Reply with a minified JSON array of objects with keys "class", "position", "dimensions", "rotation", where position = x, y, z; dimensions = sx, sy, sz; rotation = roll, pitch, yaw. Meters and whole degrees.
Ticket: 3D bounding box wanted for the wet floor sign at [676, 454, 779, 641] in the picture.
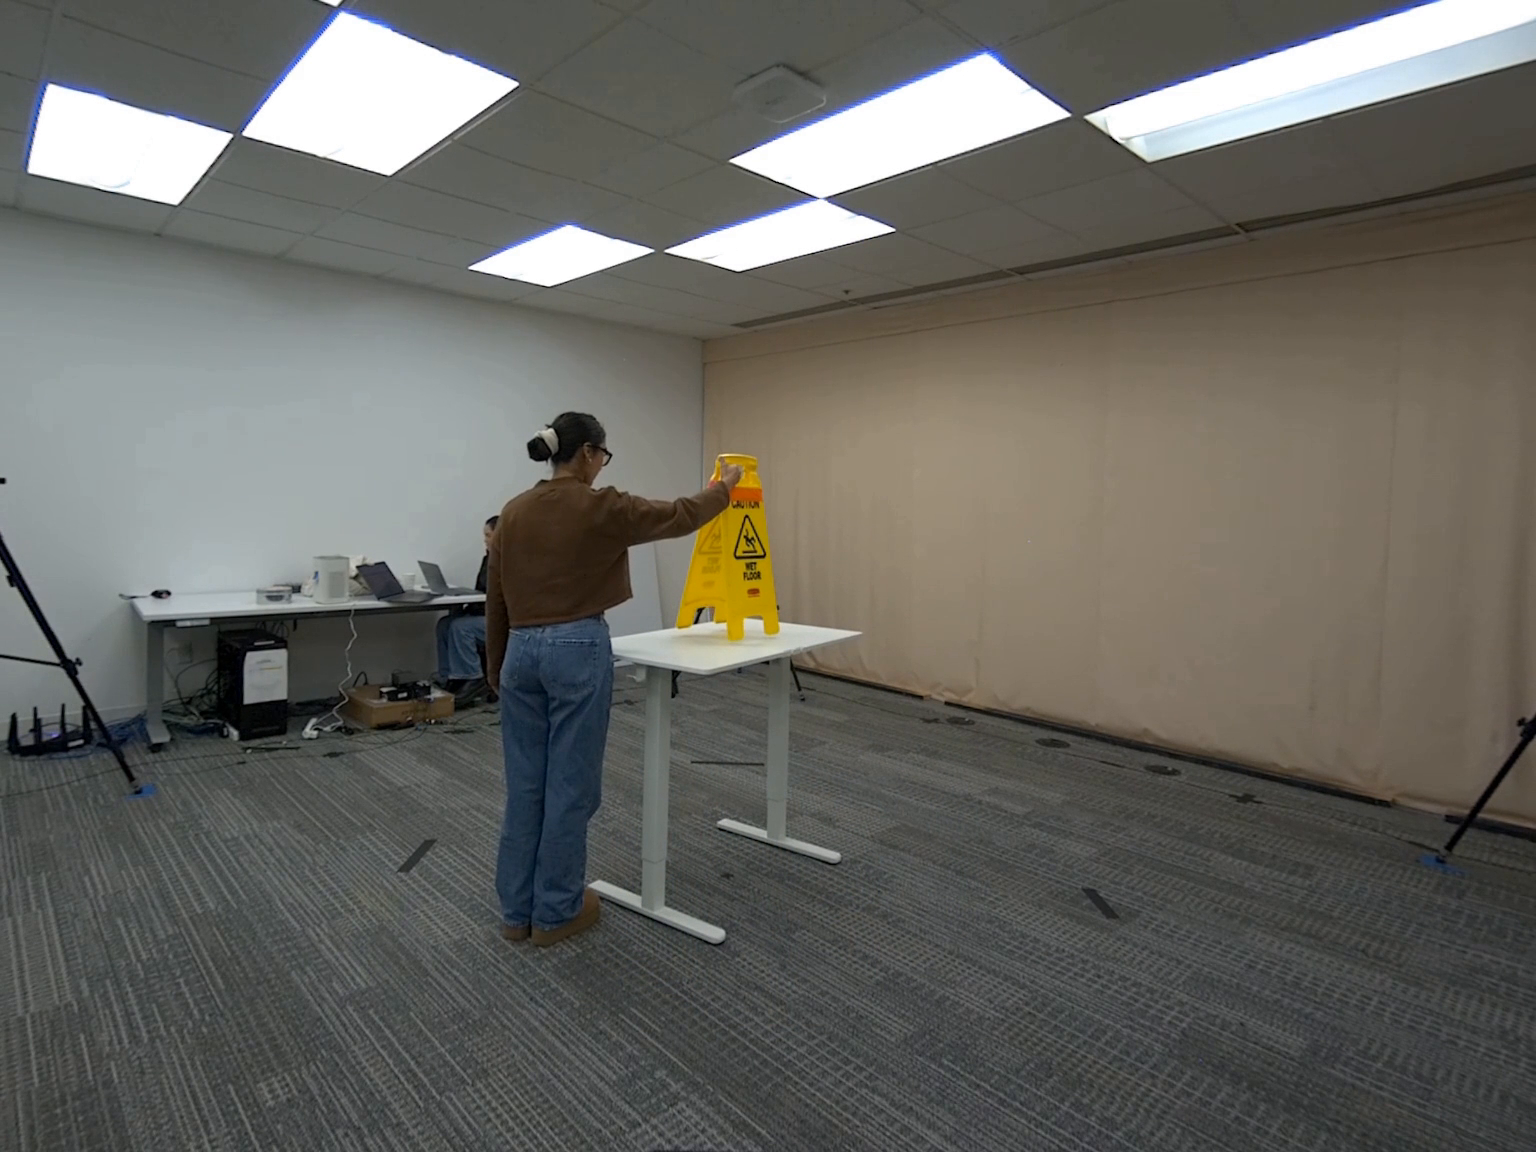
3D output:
[{"class":"wet floor sign","position":[-0.133,-0.116,3.078],"dimensions":[0.297,0.643,0.276],"rotation":[8,8,39]}]
